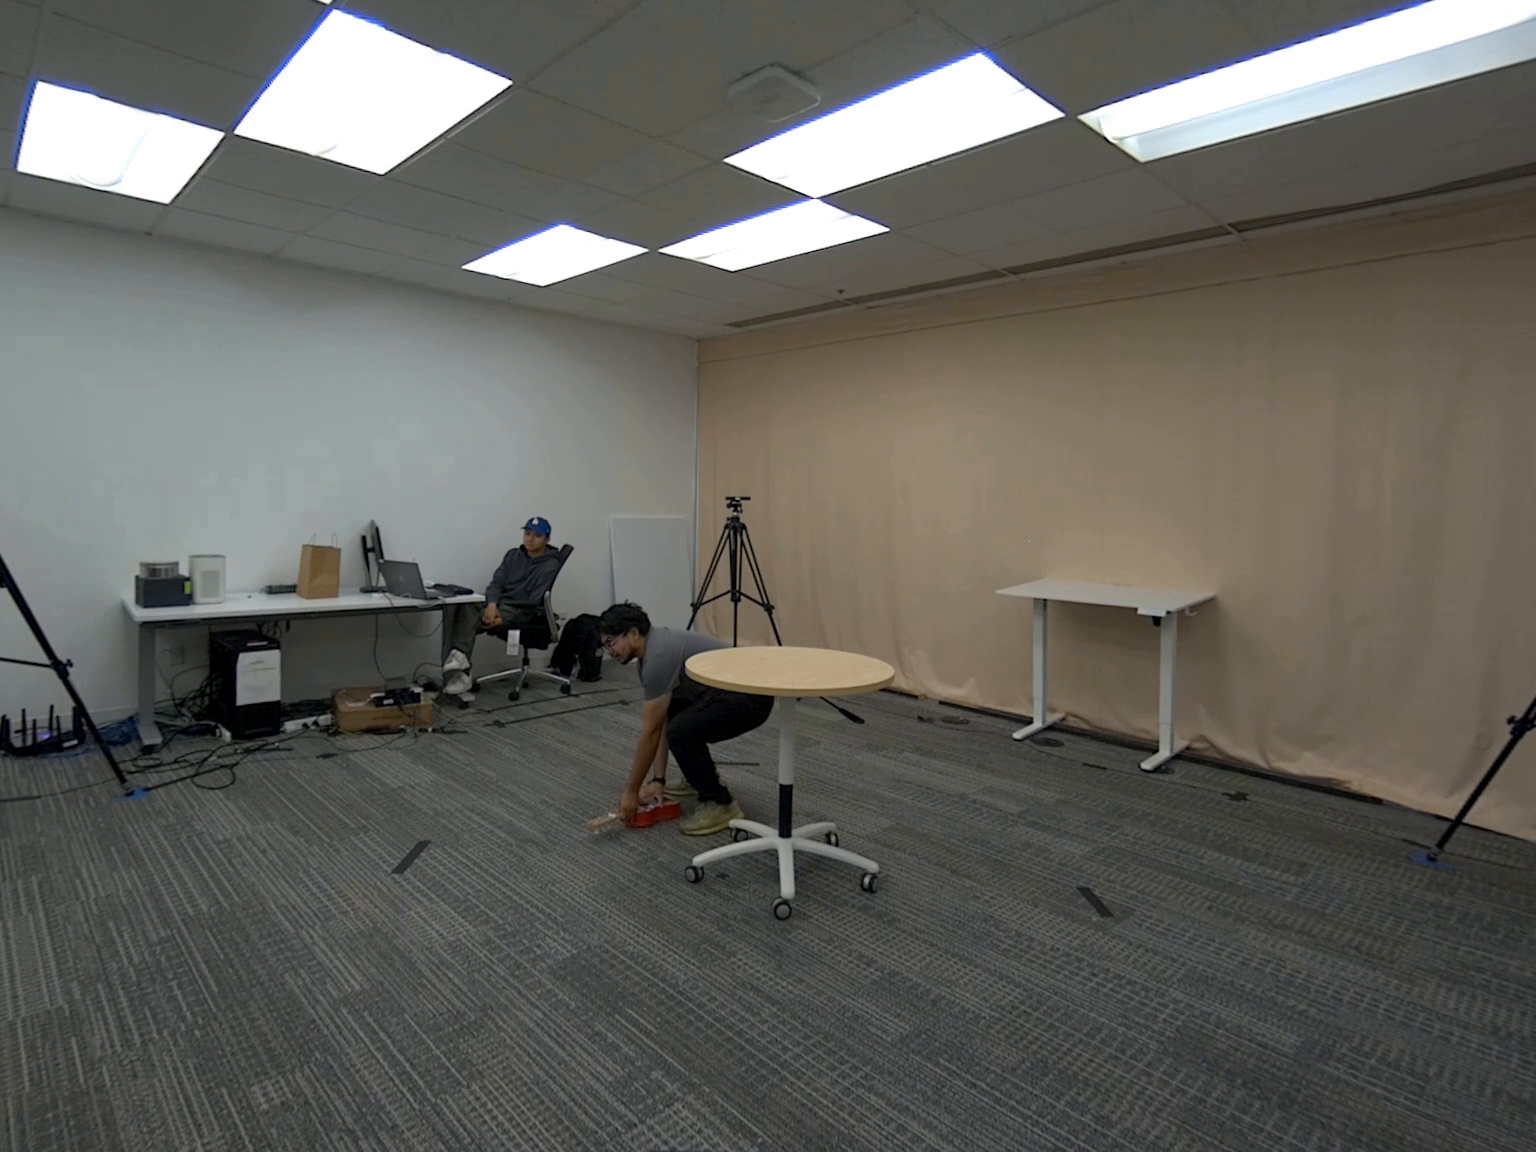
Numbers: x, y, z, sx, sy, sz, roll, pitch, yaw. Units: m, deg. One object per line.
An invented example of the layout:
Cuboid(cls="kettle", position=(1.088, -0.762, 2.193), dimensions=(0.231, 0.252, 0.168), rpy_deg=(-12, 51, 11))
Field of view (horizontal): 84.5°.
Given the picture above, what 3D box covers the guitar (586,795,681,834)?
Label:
Cuboid(cls="guitar", position=(-0.605, 1.009, 3.587), dimensions=(0.198, 0.071, 0.486), rpy_deg=(2, 2, 42))
